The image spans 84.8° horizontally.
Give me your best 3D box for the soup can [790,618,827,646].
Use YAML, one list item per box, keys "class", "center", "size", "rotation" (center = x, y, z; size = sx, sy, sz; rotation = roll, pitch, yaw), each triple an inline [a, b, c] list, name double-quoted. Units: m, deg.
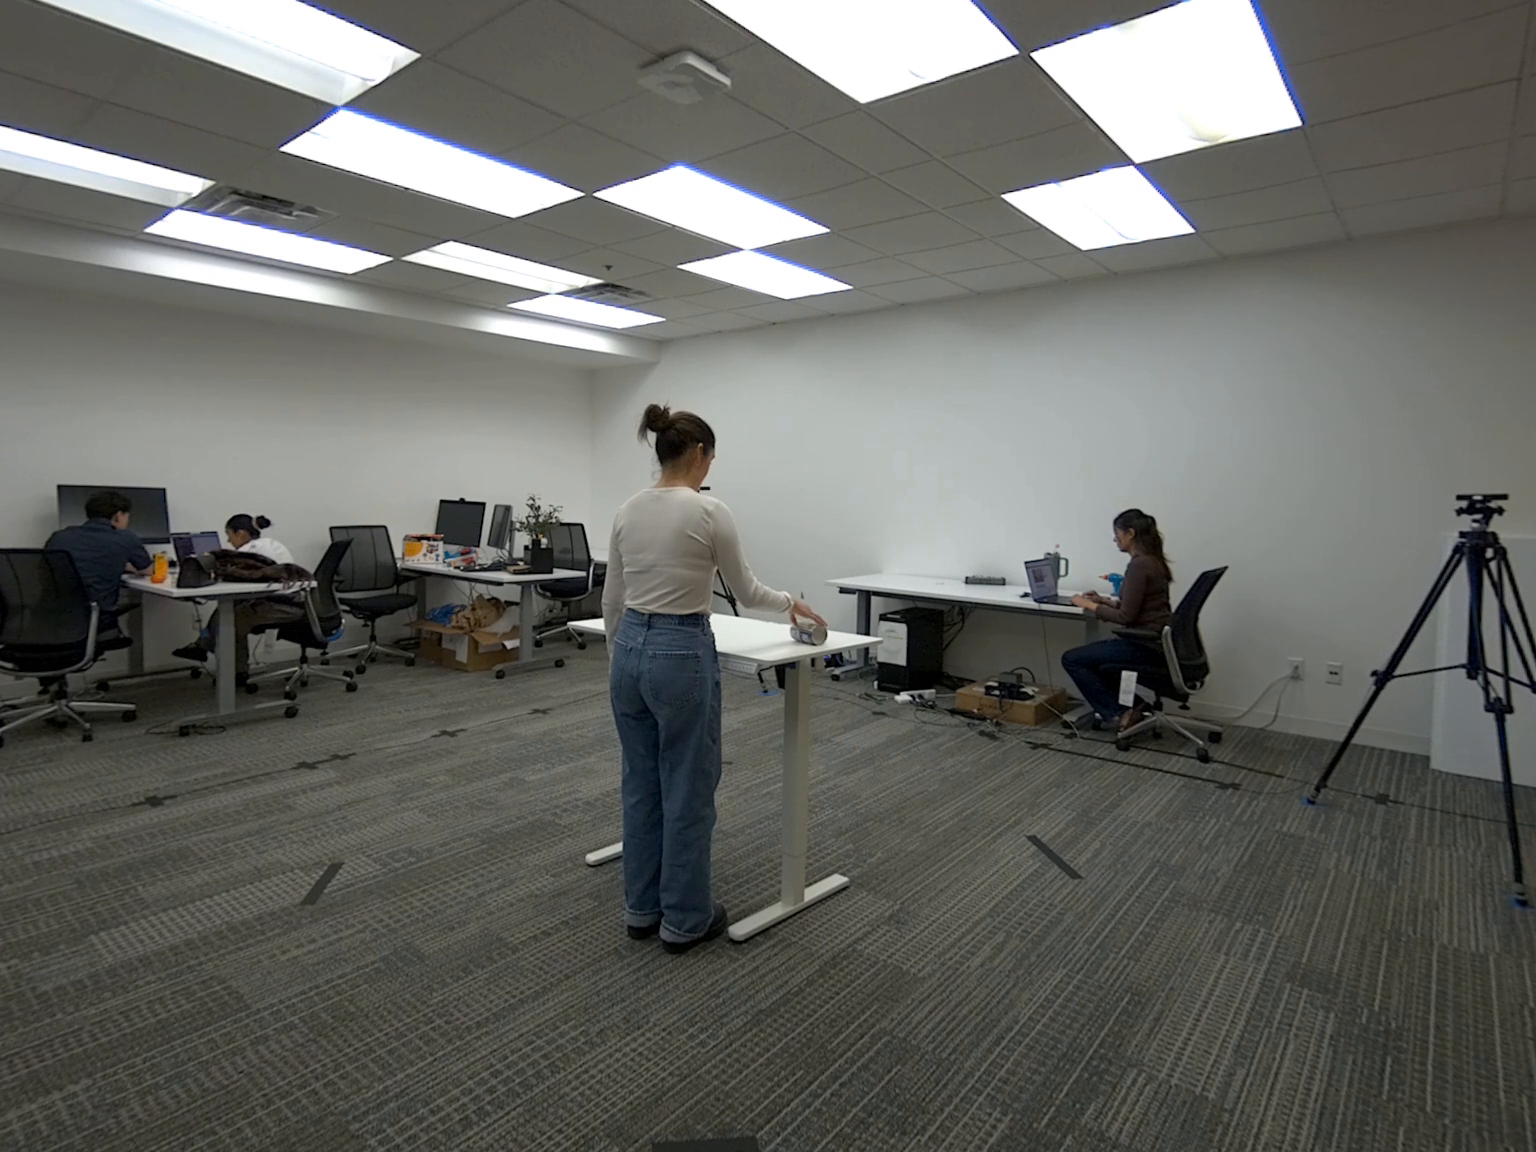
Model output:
- class: "soup can"
  center: [0.117, 0.180, 2.813]
  size: [0.120, 0.067, 0.068]
  rotation: [-3, 5, -10]
